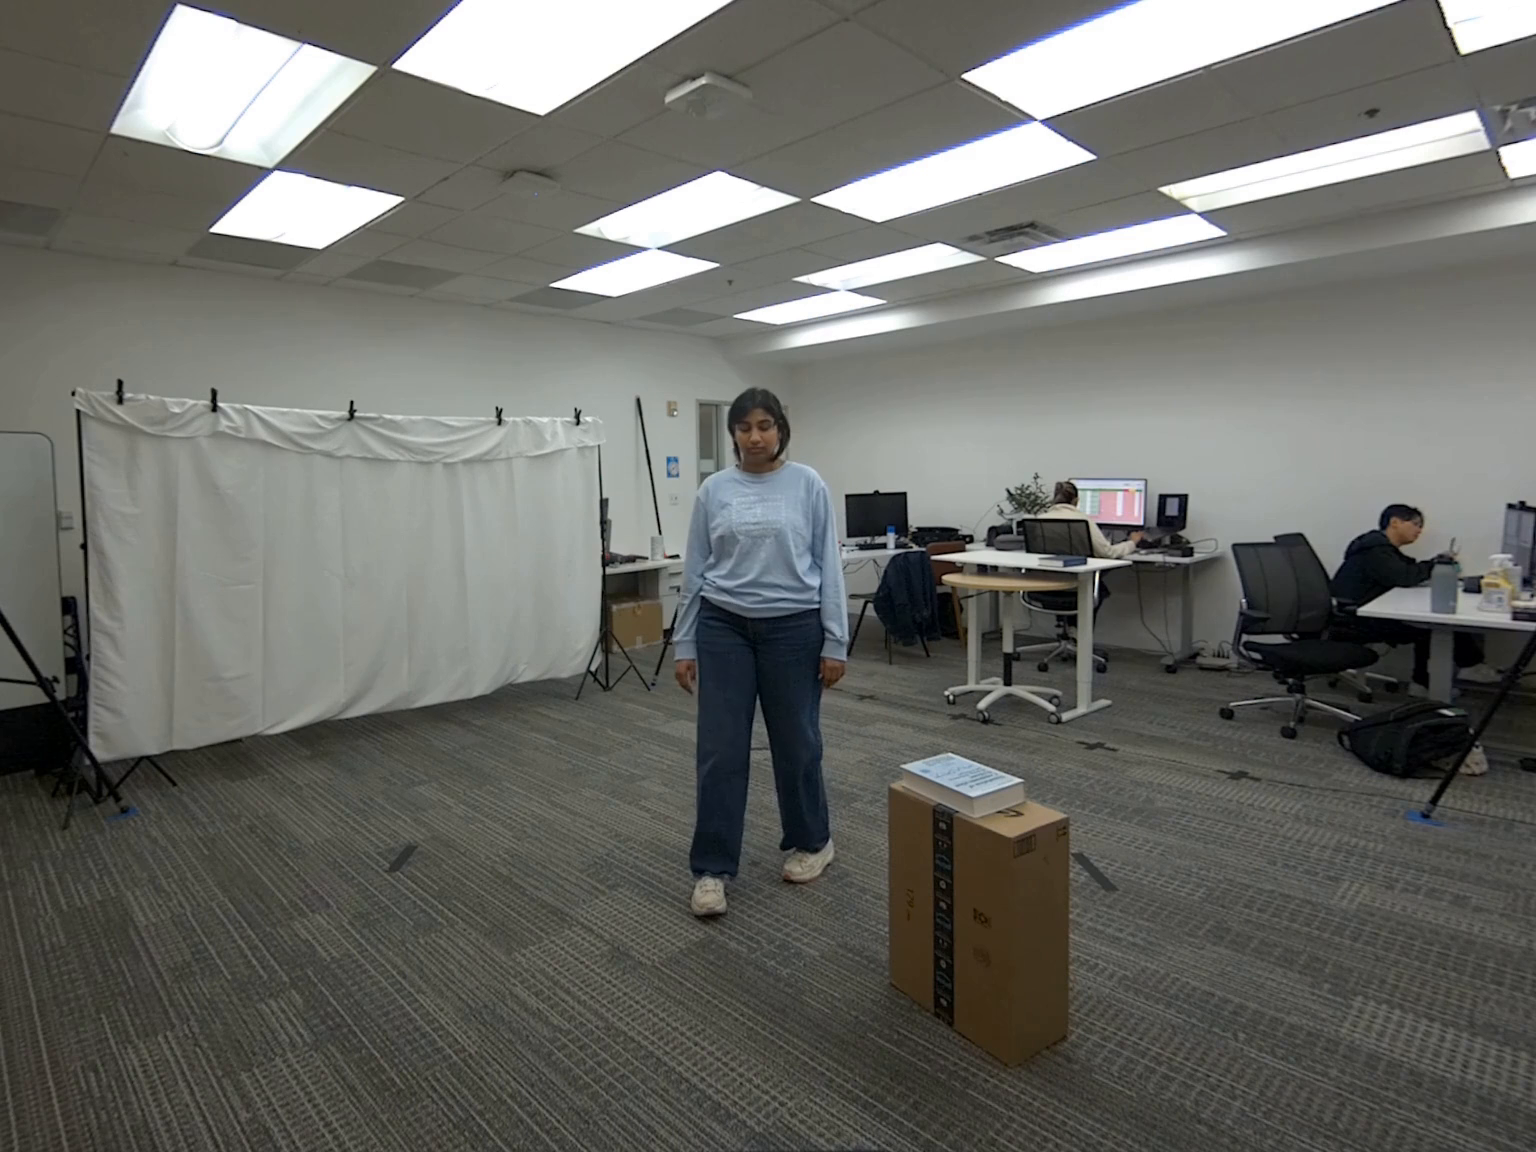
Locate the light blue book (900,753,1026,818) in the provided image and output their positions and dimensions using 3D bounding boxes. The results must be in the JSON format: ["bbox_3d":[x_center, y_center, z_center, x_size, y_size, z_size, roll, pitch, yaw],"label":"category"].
[{"bbox_3d":[0.500,0.543,2.238,0.187,0.059,0.268,-7,8,-31],"label":"light blue book"}]
